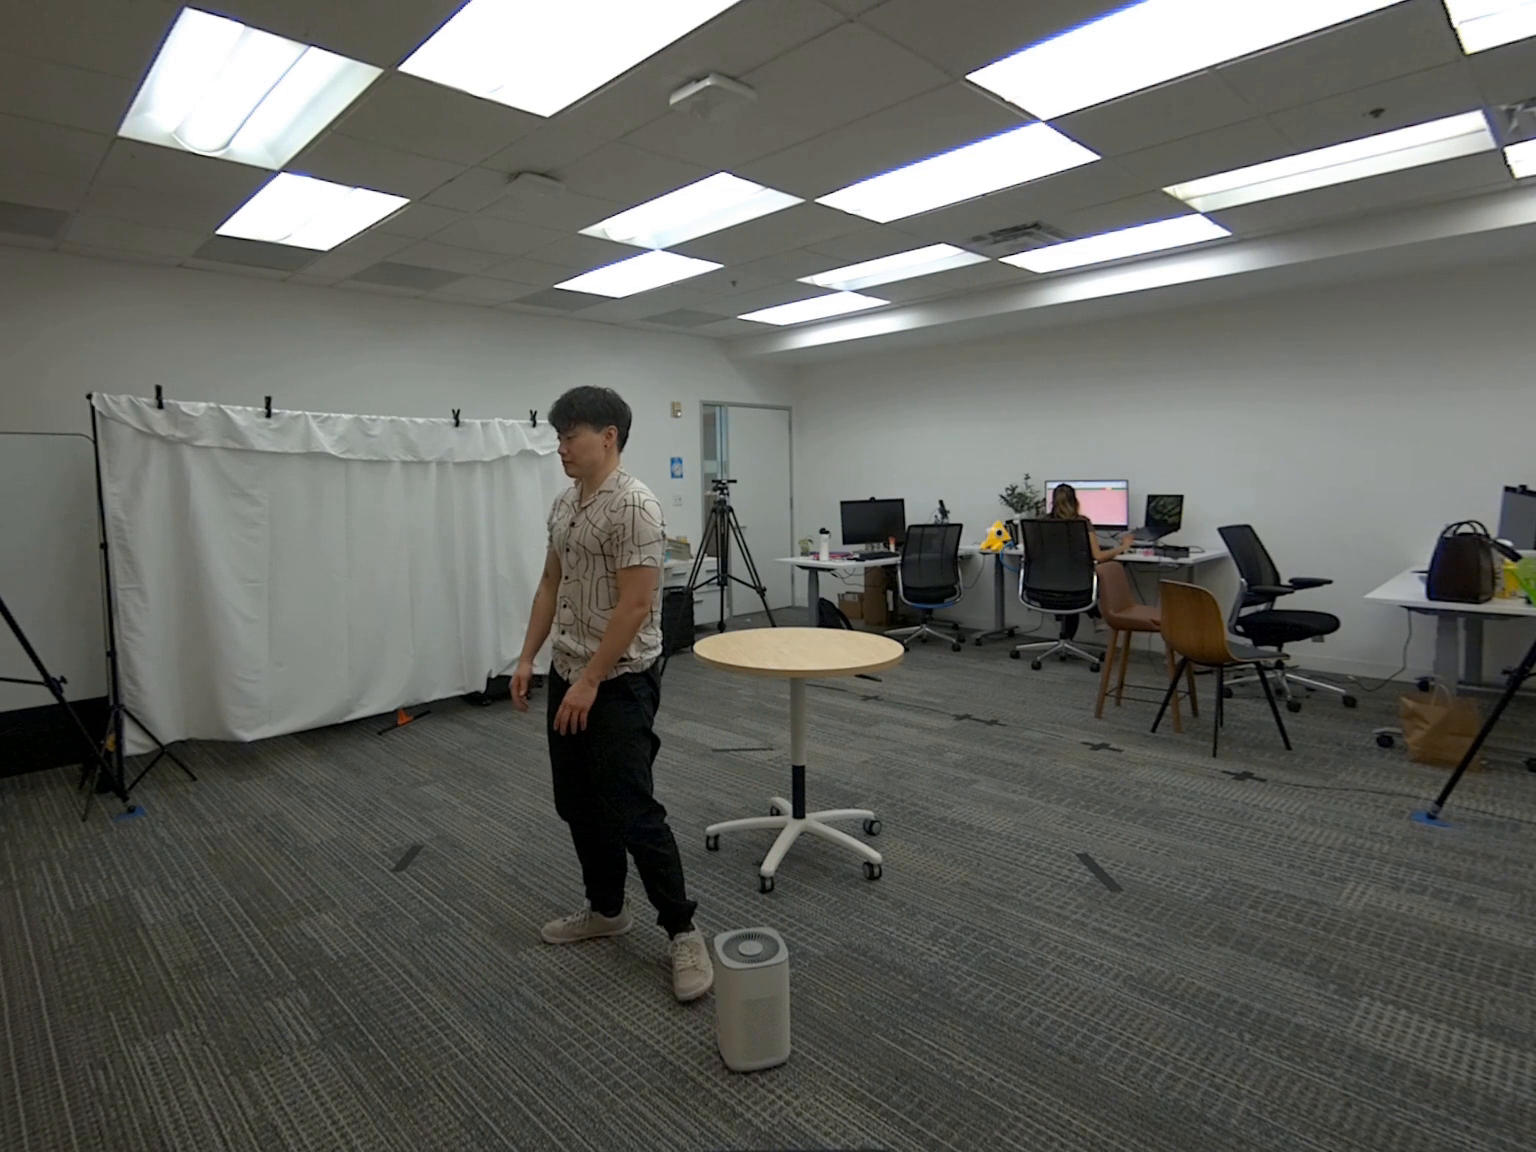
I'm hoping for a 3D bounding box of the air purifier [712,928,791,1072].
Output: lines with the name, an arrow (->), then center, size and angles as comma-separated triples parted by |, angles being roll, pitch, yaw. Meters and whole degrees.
air purifier -> -0.032, 1.038, 2.085 | 0.169, 0.264, 0.174 | -3, 5, -17
